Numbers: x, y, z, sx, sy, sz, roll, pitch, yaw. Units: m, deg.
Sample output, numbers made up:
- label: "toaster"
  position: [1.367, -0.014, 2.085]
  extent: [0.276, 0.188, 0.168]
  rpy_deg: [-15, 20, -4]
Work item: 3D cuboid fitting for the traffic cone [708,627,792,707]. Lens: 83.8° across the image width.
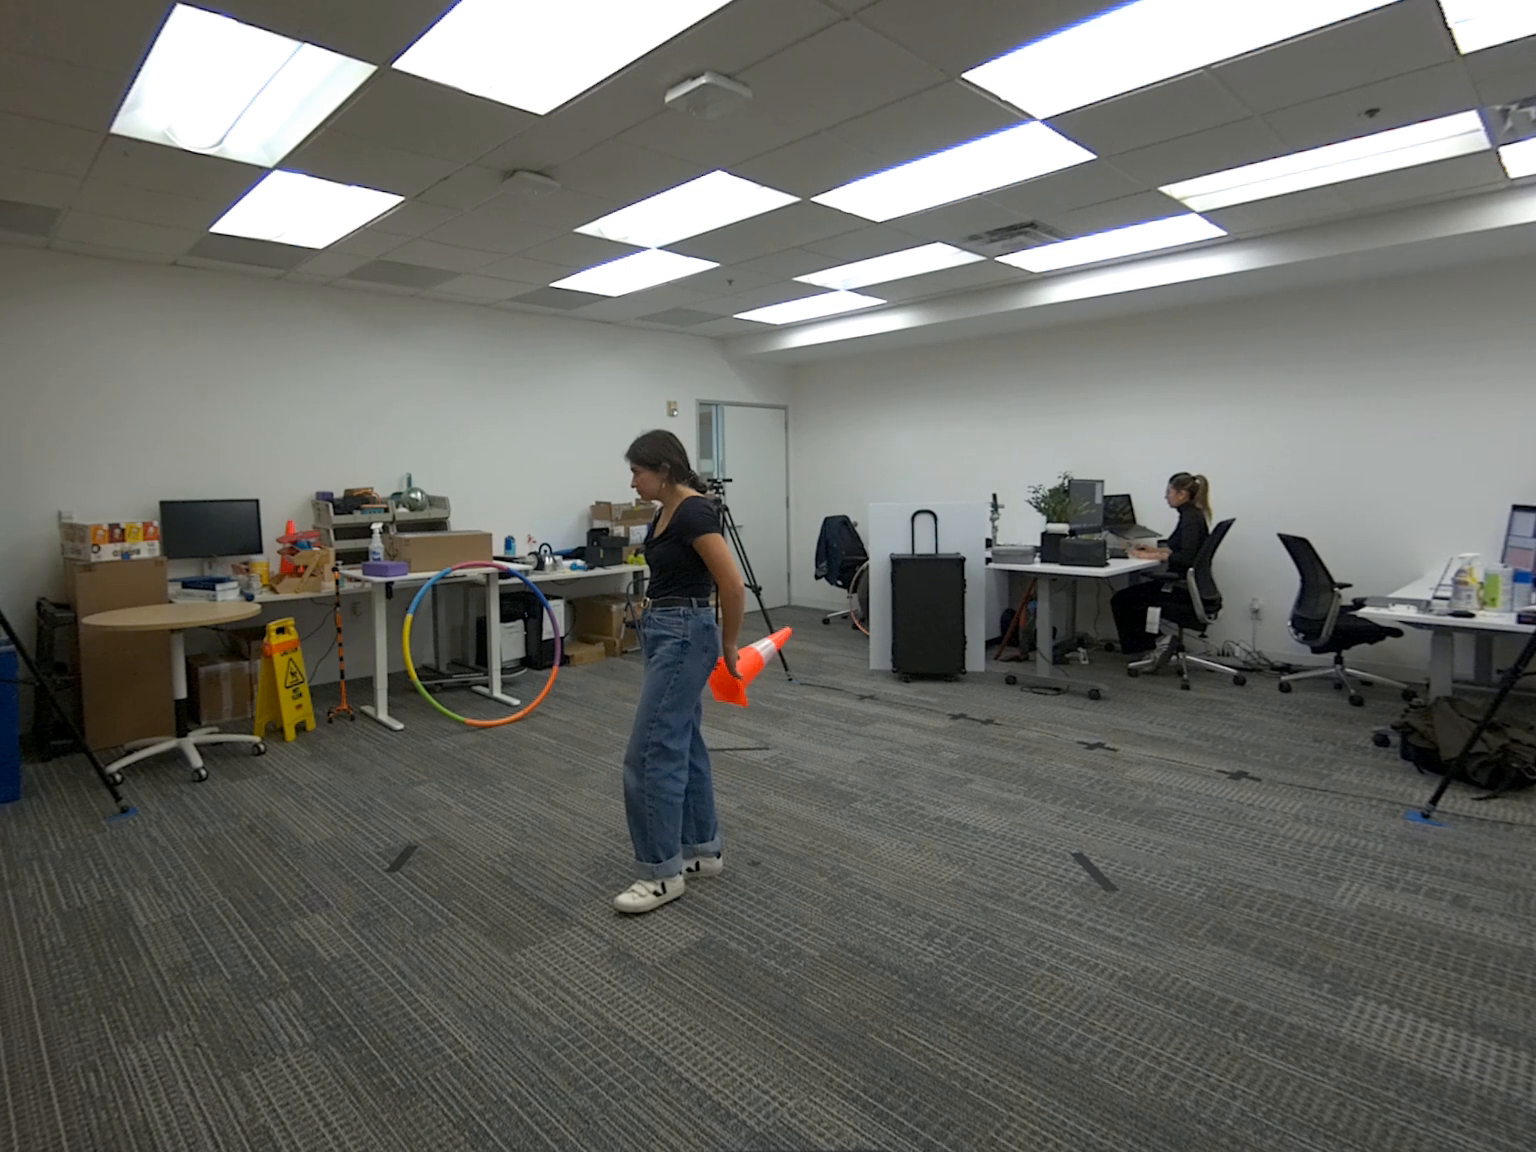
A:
- label: "traffic cone"
  position: [-0.049, 0.311, 3.285]
  extent: [0.380, 0.201, 0.209]
  rpy_deg: [-33, 20, -36]
